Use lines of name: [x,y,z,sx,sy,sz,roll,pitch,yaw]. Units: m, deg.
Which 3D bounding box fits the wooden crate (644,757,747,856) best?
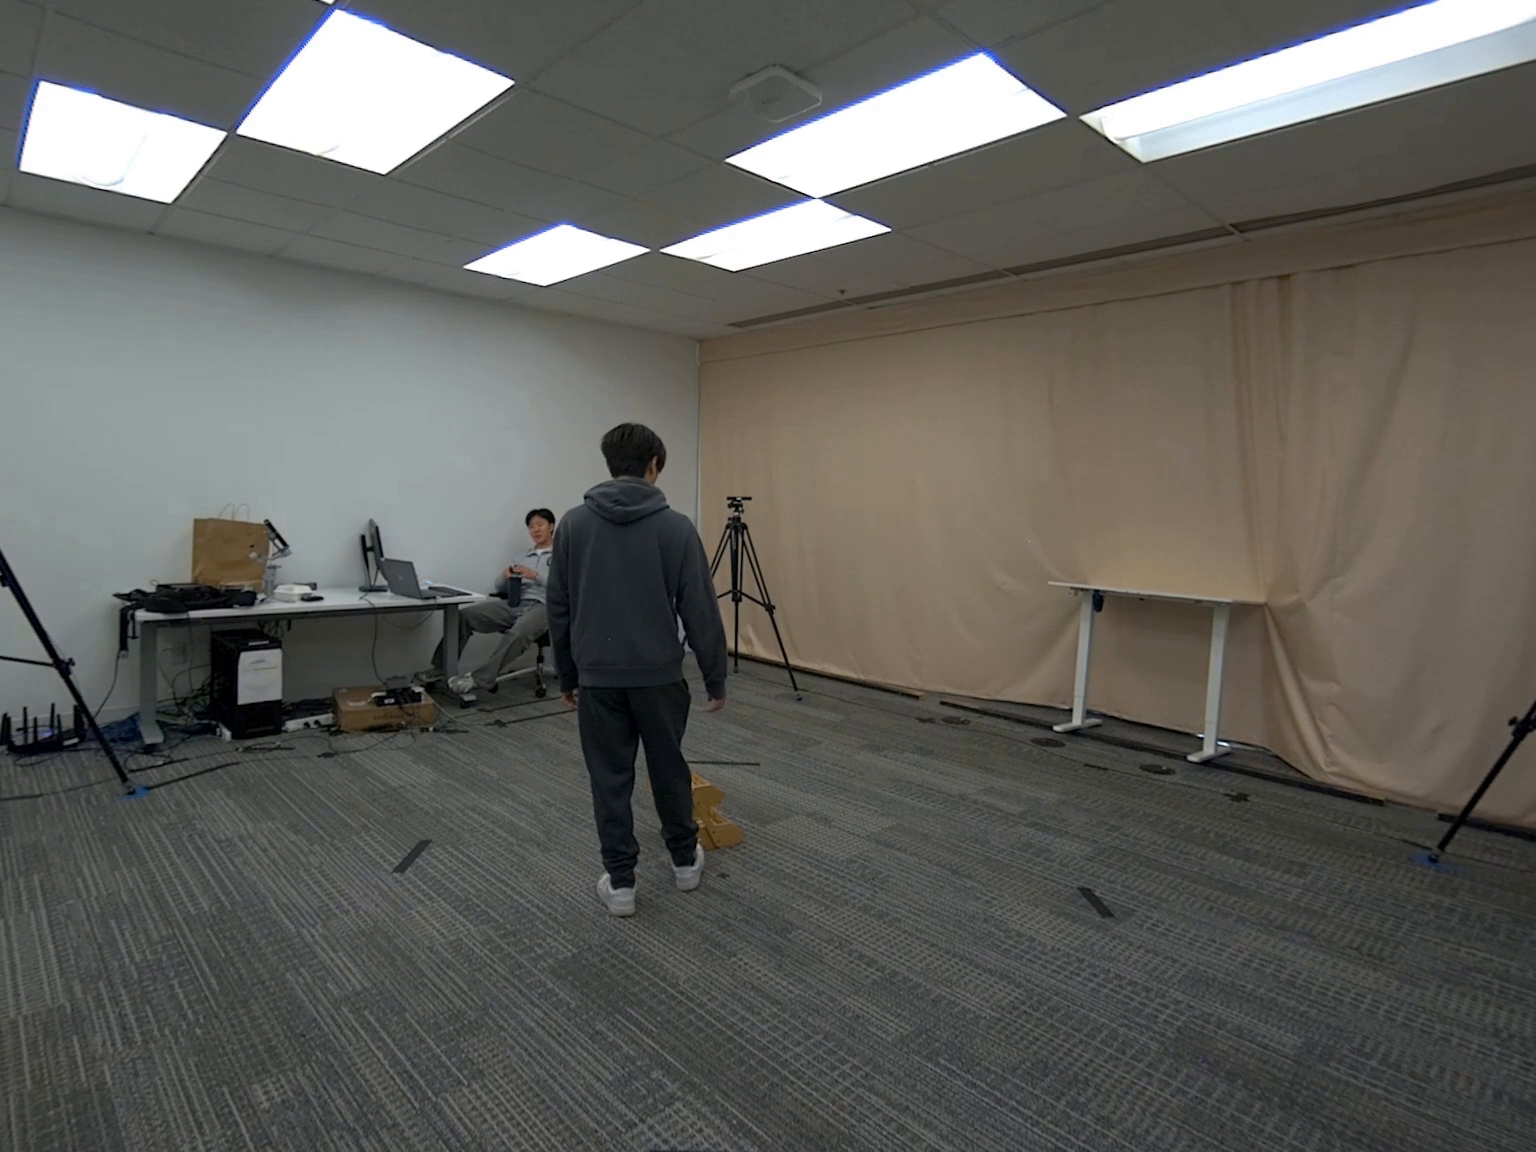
wooden crate: [-0.303,0.940,3.463,0.296,0.272,0.332,-1,5,-30]
